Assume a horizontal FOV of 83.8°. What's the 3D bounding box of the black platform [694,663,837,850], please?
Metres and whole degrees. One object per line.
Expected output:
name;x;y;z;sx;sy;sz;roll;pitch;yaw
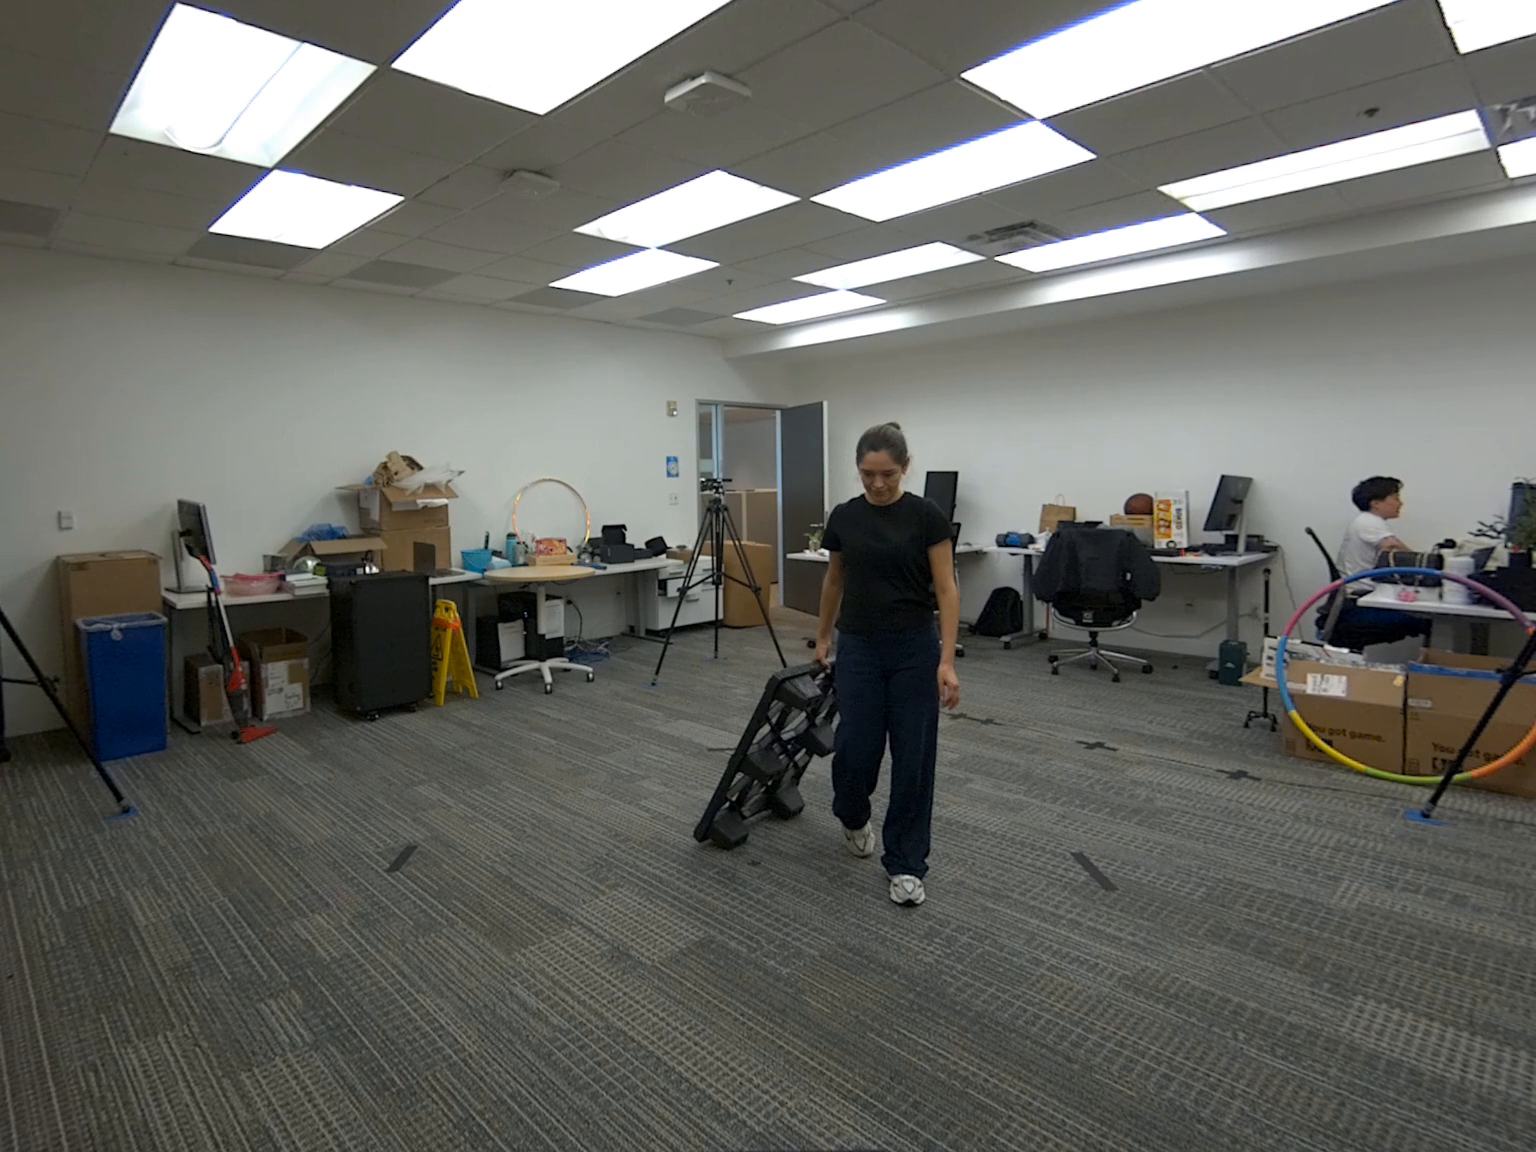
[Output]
black platform;0.082;0.665;3.294;0.148;0.798;0.590;37;26;29
